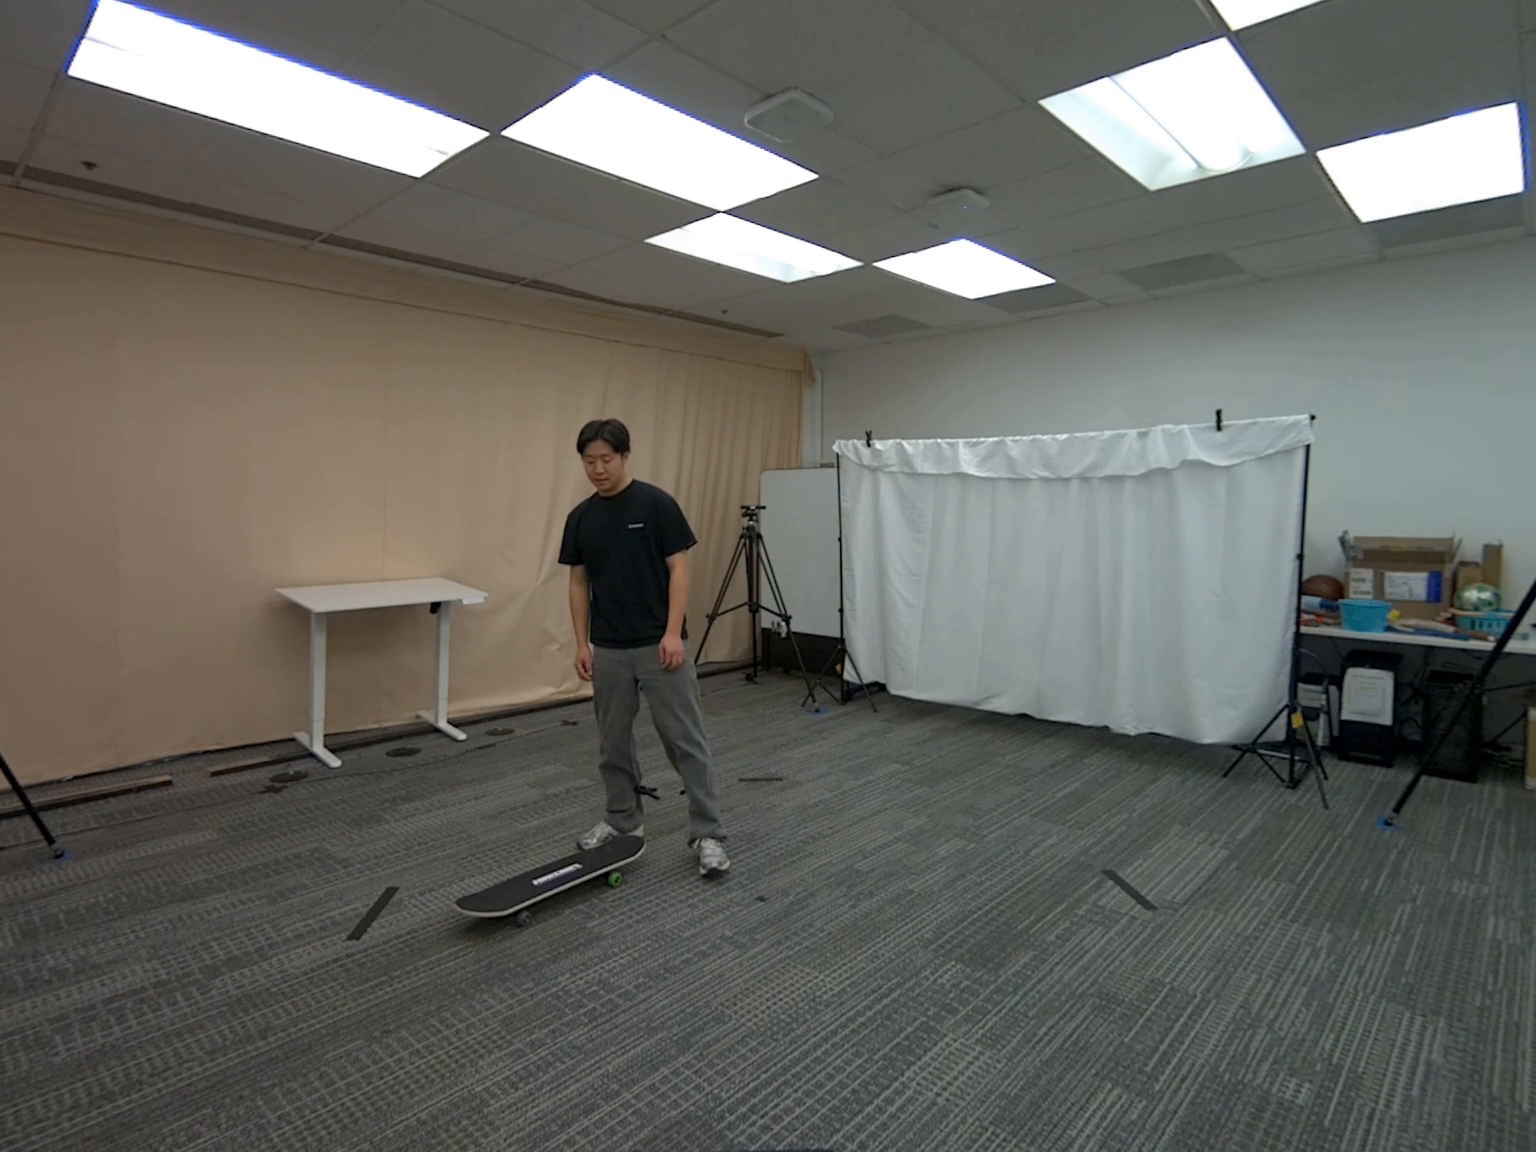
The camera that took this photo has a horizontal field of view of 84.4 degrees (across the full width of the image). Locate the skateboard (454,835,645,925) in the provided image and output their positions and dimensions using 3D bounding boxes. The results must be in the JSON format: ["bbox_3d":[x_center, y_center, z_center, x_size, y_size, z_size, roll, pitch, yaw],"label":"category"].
[{"bbox_3d":[-0.749,1.095,2.992,0.200,0.110,0.762,3,6,41],"label":"skateboard"}]
